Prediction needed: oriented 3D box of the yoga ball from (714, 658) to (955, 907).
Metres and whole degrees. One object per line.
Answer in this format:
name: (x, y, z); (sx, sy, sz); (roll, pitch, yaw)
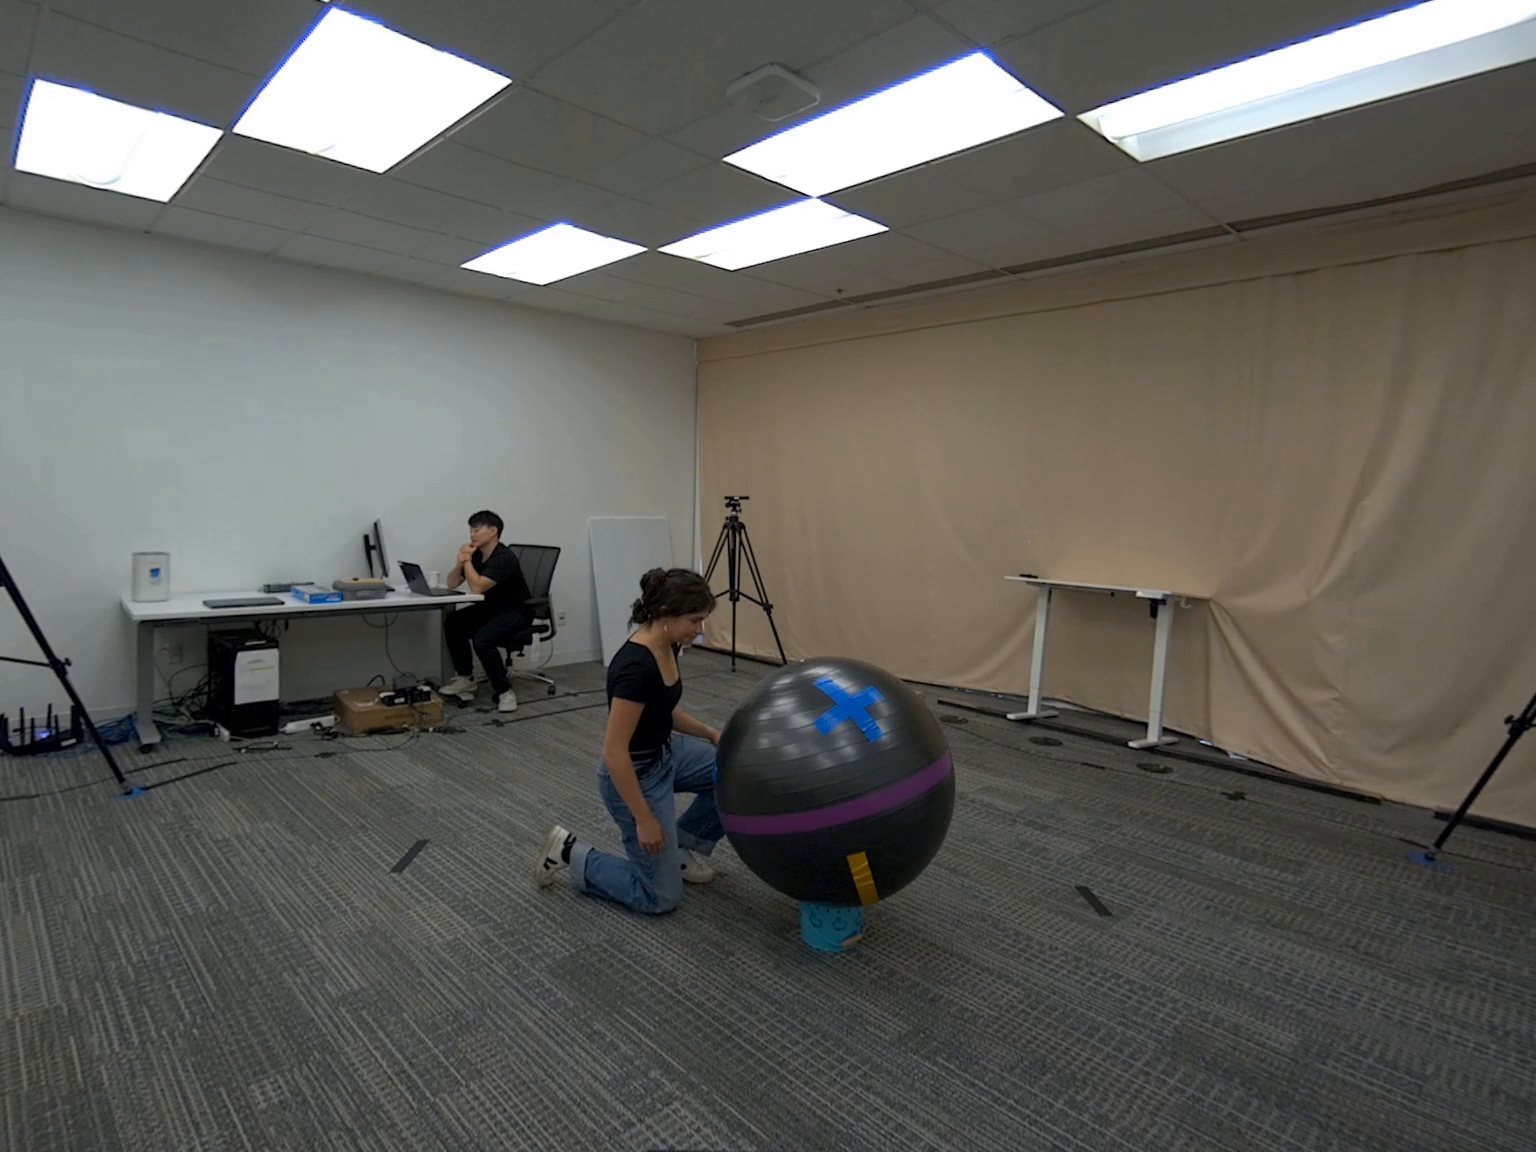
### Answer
yoga ball: (0.197, 0.643, 2.654); (0.757, 0.756, 0.761); (1, 4, -1)
